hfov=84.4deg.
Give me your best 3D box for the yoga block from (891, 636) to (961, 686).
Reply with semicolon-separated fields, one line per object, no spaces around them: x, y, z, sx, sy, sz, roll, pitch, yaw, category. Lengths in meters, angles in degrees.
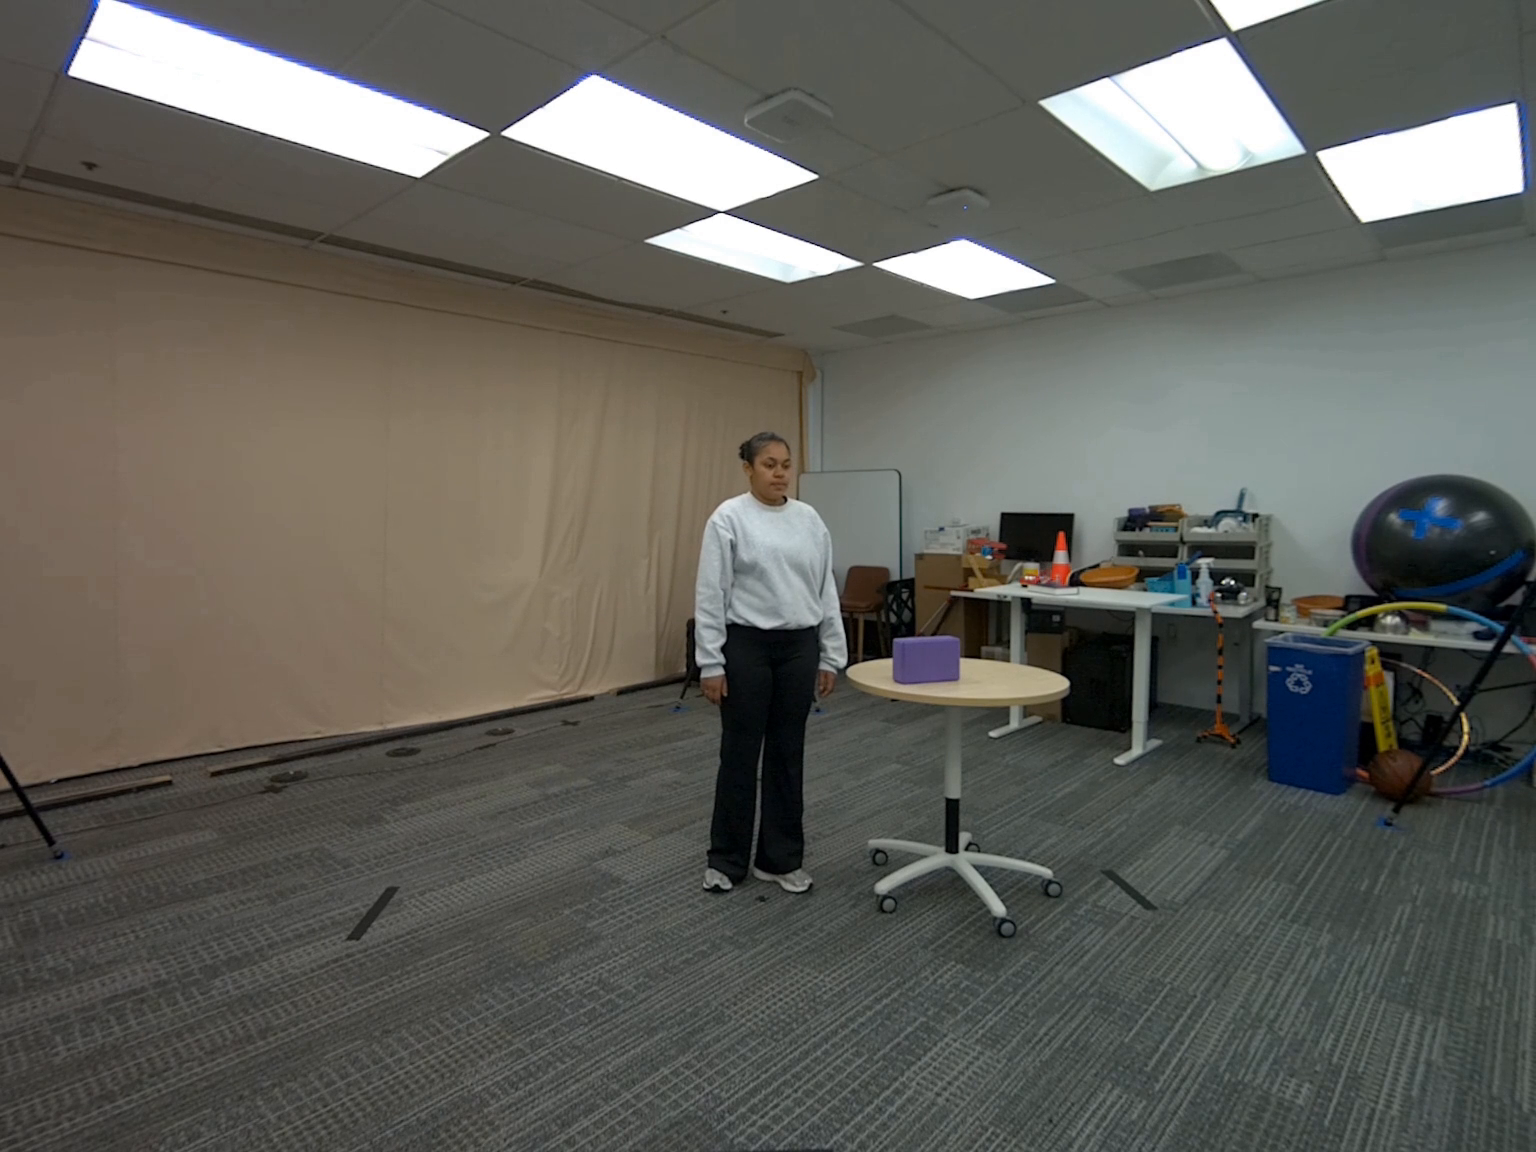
0.550;0.291;2.904;0.226;0.149;0.077;0;3;-13;yoga block
